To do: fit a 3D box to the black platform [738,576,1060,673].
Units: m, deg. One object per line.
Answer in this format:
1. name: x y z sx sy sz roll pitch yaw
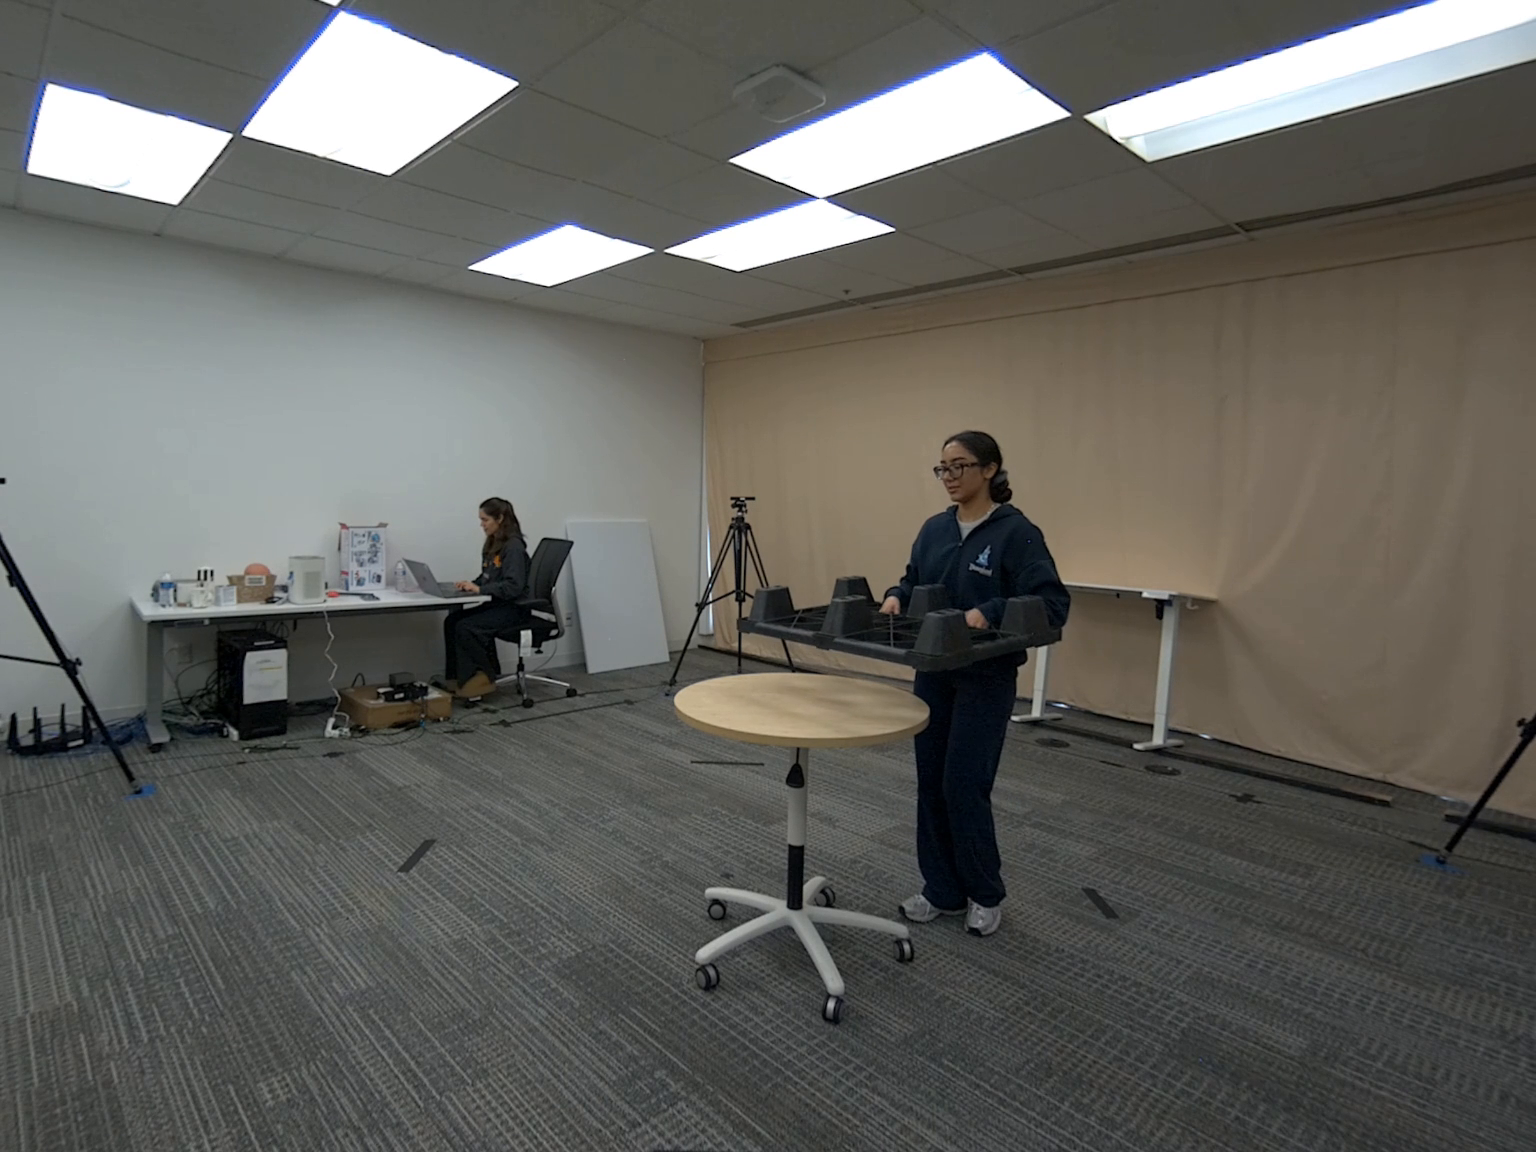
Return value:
1. black platform: 0.371 0.123 2.576 0.592 0.143 0.826 -6 8 -39
